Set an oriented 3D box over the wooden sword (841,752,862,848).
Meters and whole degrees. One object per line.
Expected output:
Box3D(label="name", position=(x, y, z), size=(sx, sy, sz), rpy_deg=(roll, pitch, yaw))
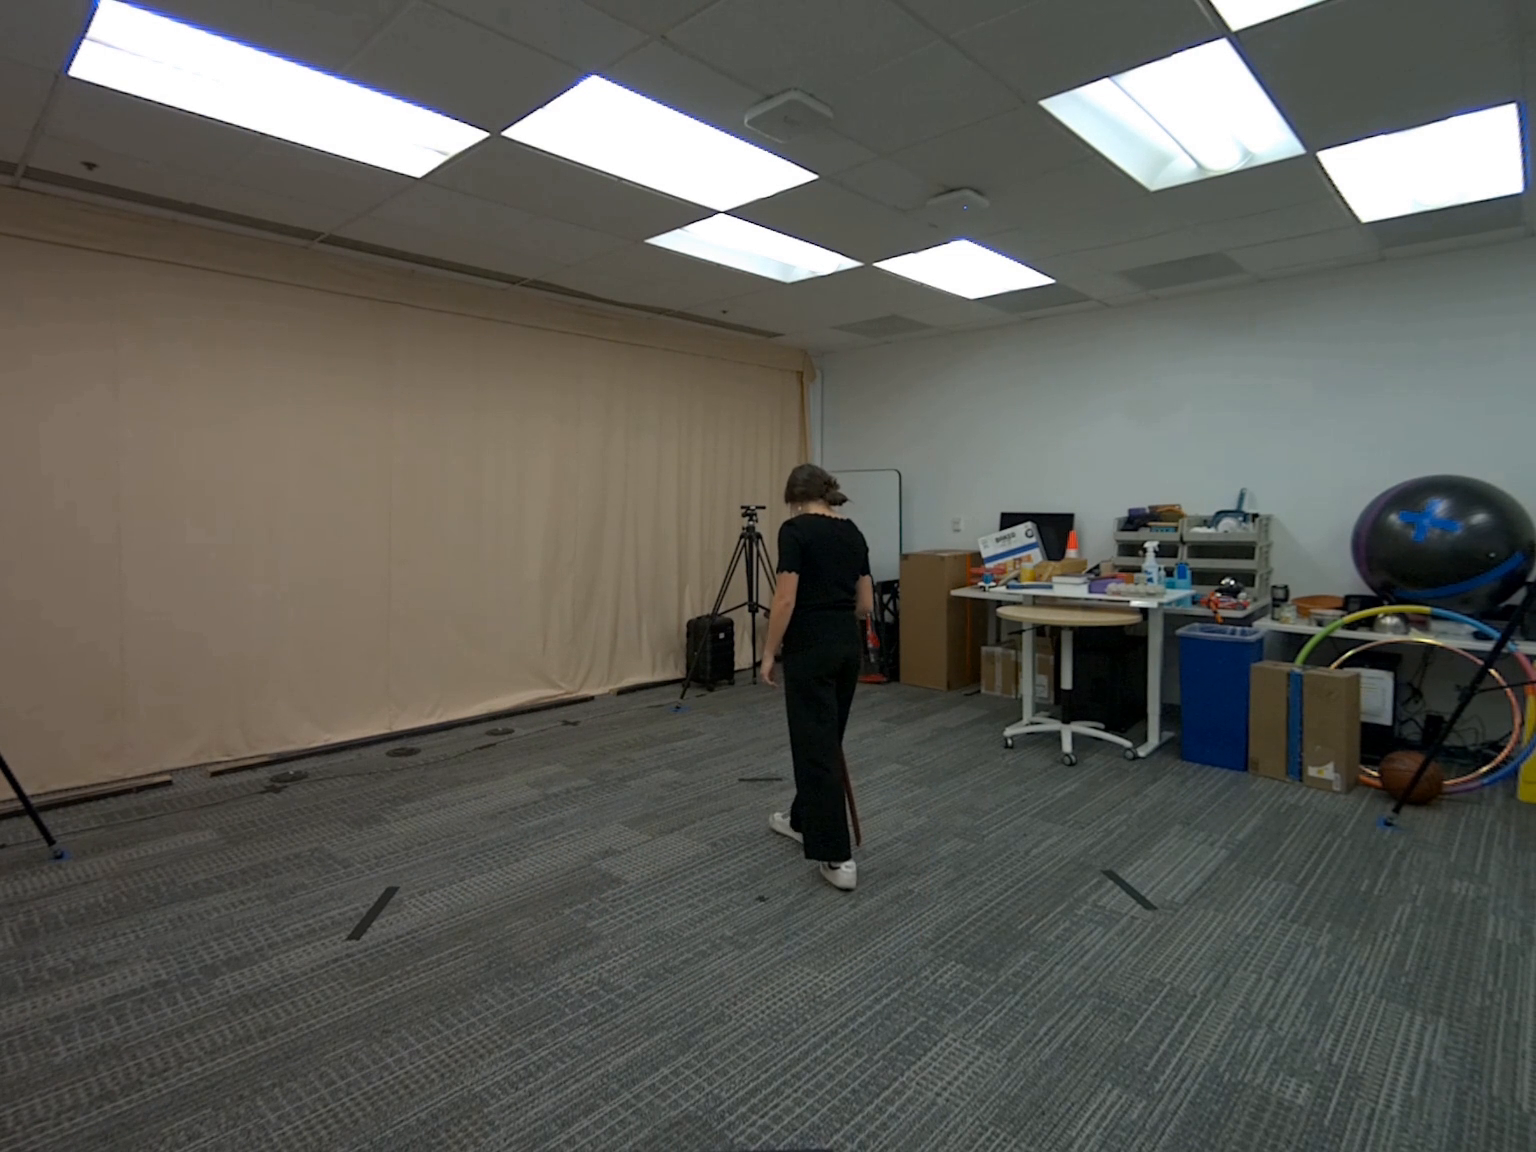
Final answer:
Box3D(label="wooden sword", position=(0.285, 0.615, 3.497), size=(0.052, 1.032, 0.024), rpy_deg=(-16, -8, 10))
